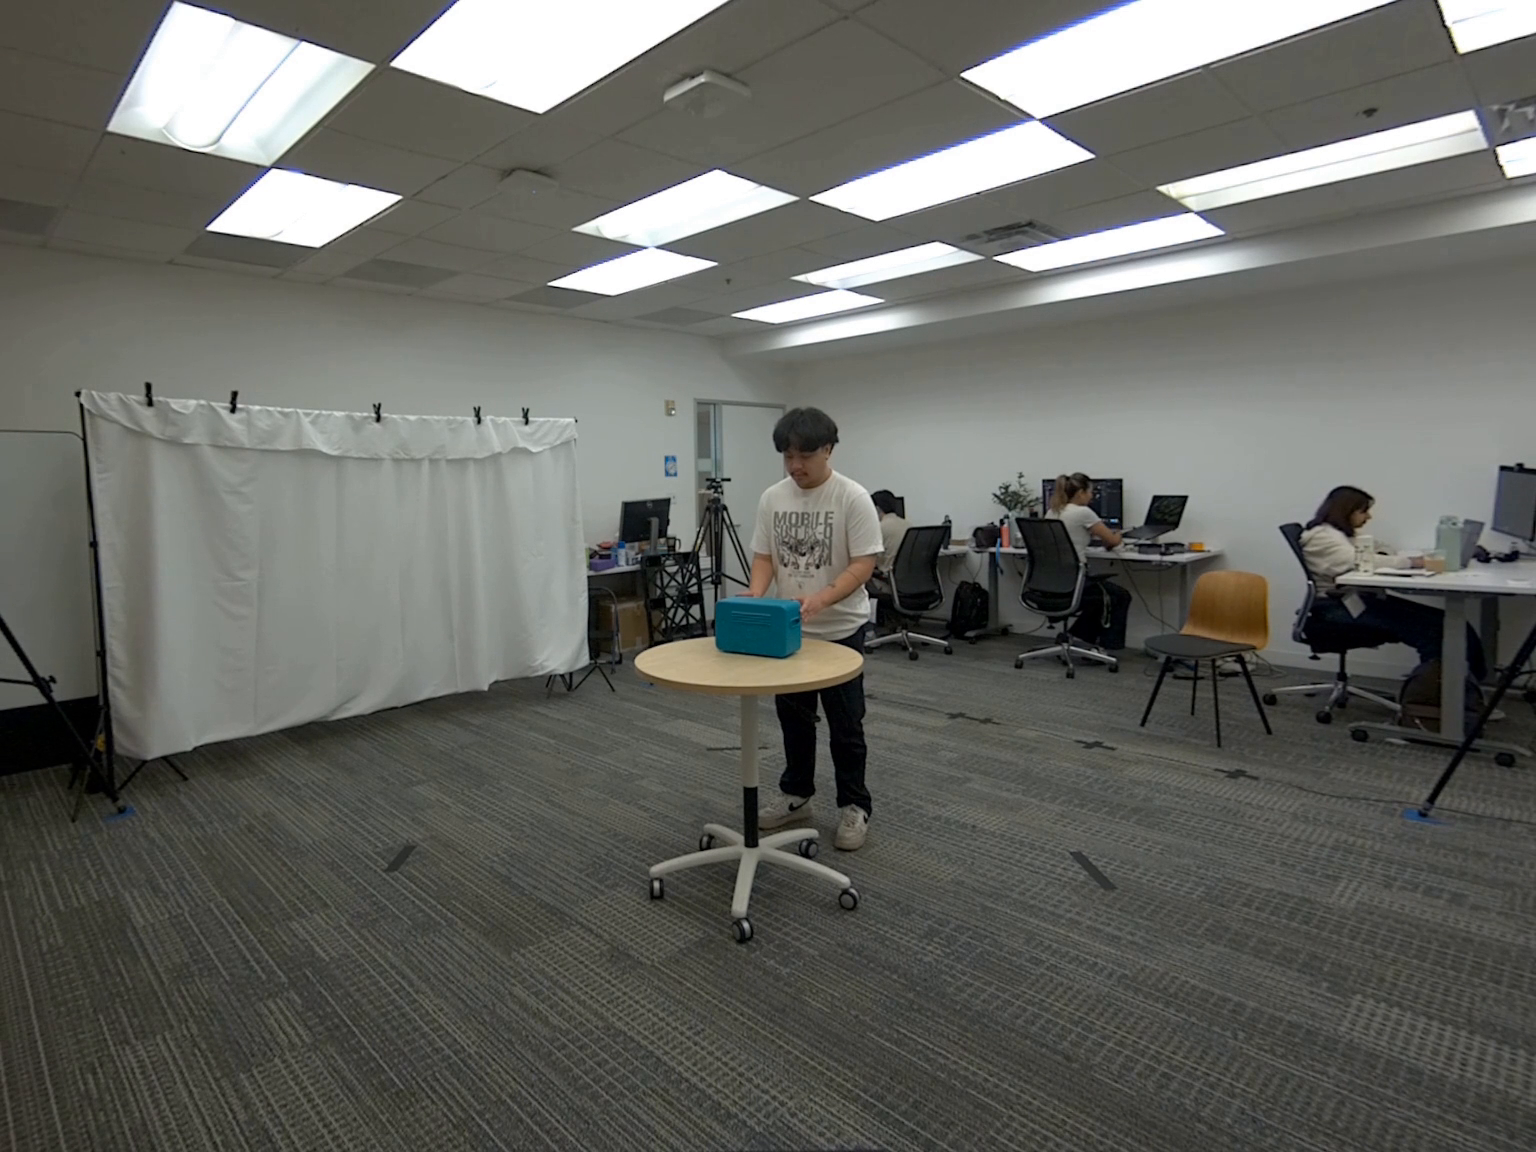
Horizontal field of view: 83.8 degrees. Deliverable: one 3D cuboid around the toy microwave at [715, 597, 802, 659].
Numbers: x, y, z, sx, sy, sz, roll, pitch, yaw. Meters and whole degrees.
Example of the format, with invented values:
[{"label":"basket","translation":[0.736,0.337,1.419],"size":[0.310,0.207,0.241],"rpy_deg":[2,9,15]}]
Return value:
[{"label":"toy microwave","translation":[-0.028,0.174,2.955],"size":[0.294,0.183,0.149],"rpy_deg":[2,6,31]}]
